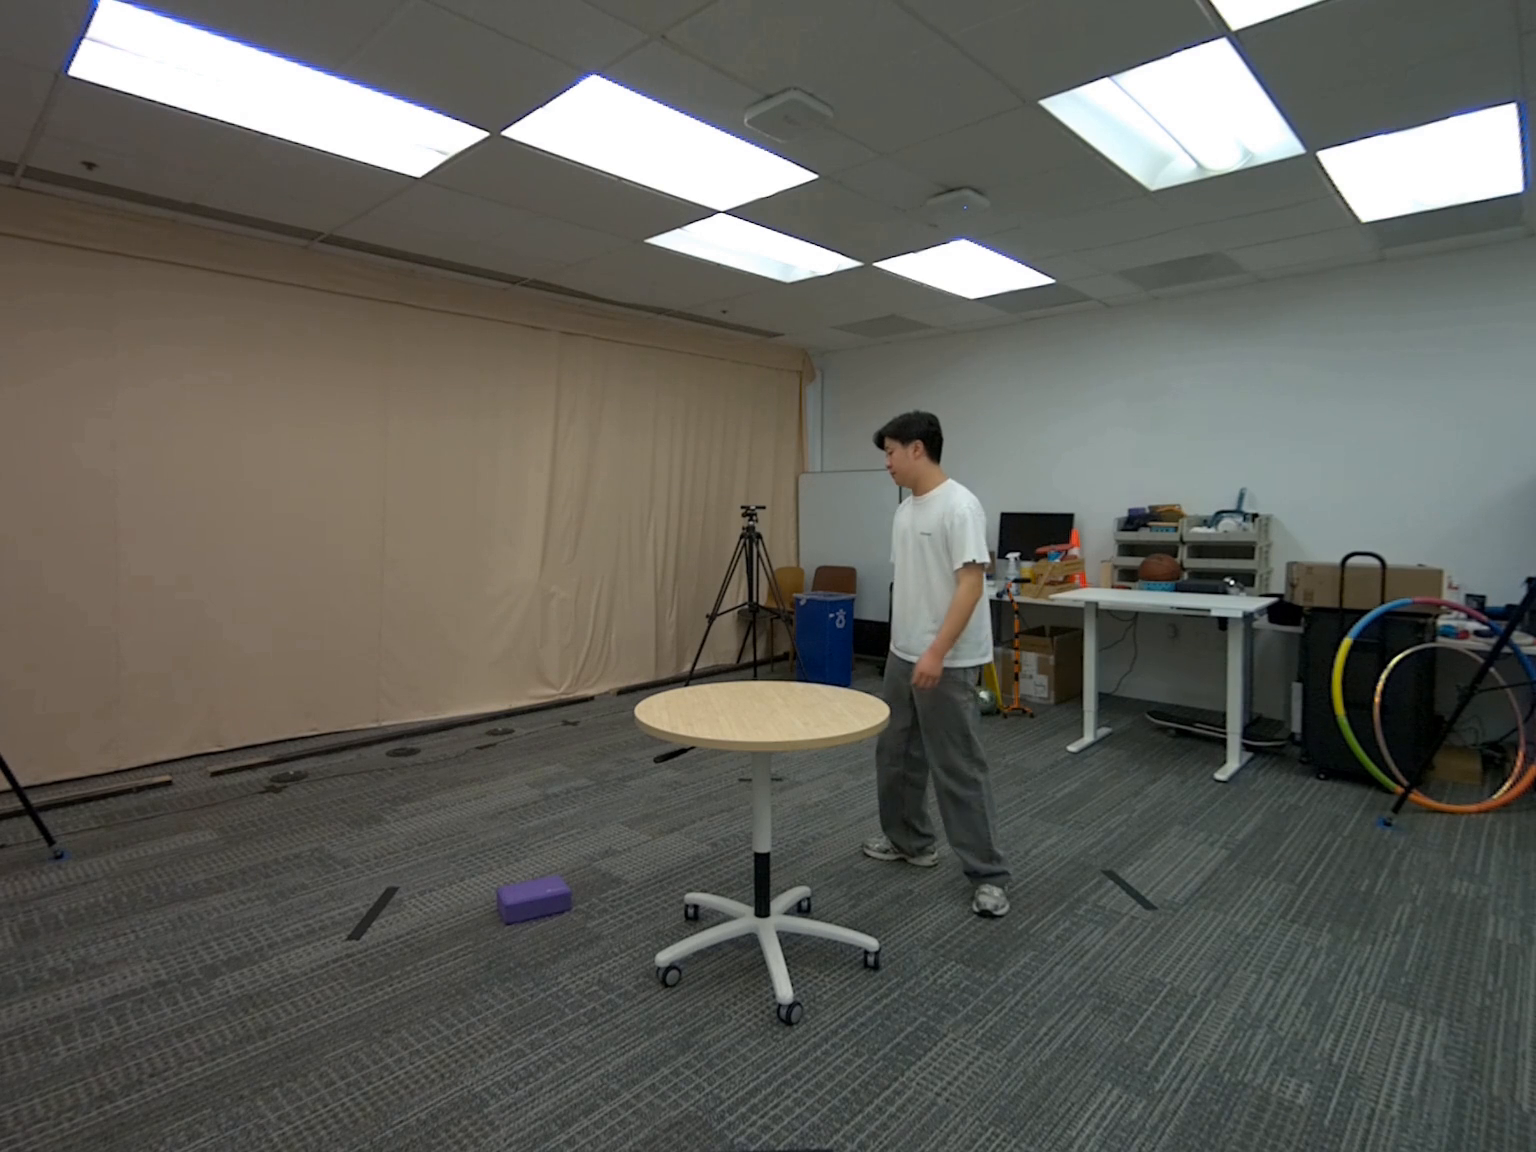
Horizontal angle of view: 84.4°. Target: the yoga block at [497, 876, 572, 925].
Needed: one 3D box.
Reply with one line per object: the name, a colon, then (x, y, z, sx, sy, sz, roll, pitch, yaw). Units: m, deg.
yoga block: (-0.806, 1.125, 2.915, 0.223, 0.076, 0.153, -3, 5, -28)
